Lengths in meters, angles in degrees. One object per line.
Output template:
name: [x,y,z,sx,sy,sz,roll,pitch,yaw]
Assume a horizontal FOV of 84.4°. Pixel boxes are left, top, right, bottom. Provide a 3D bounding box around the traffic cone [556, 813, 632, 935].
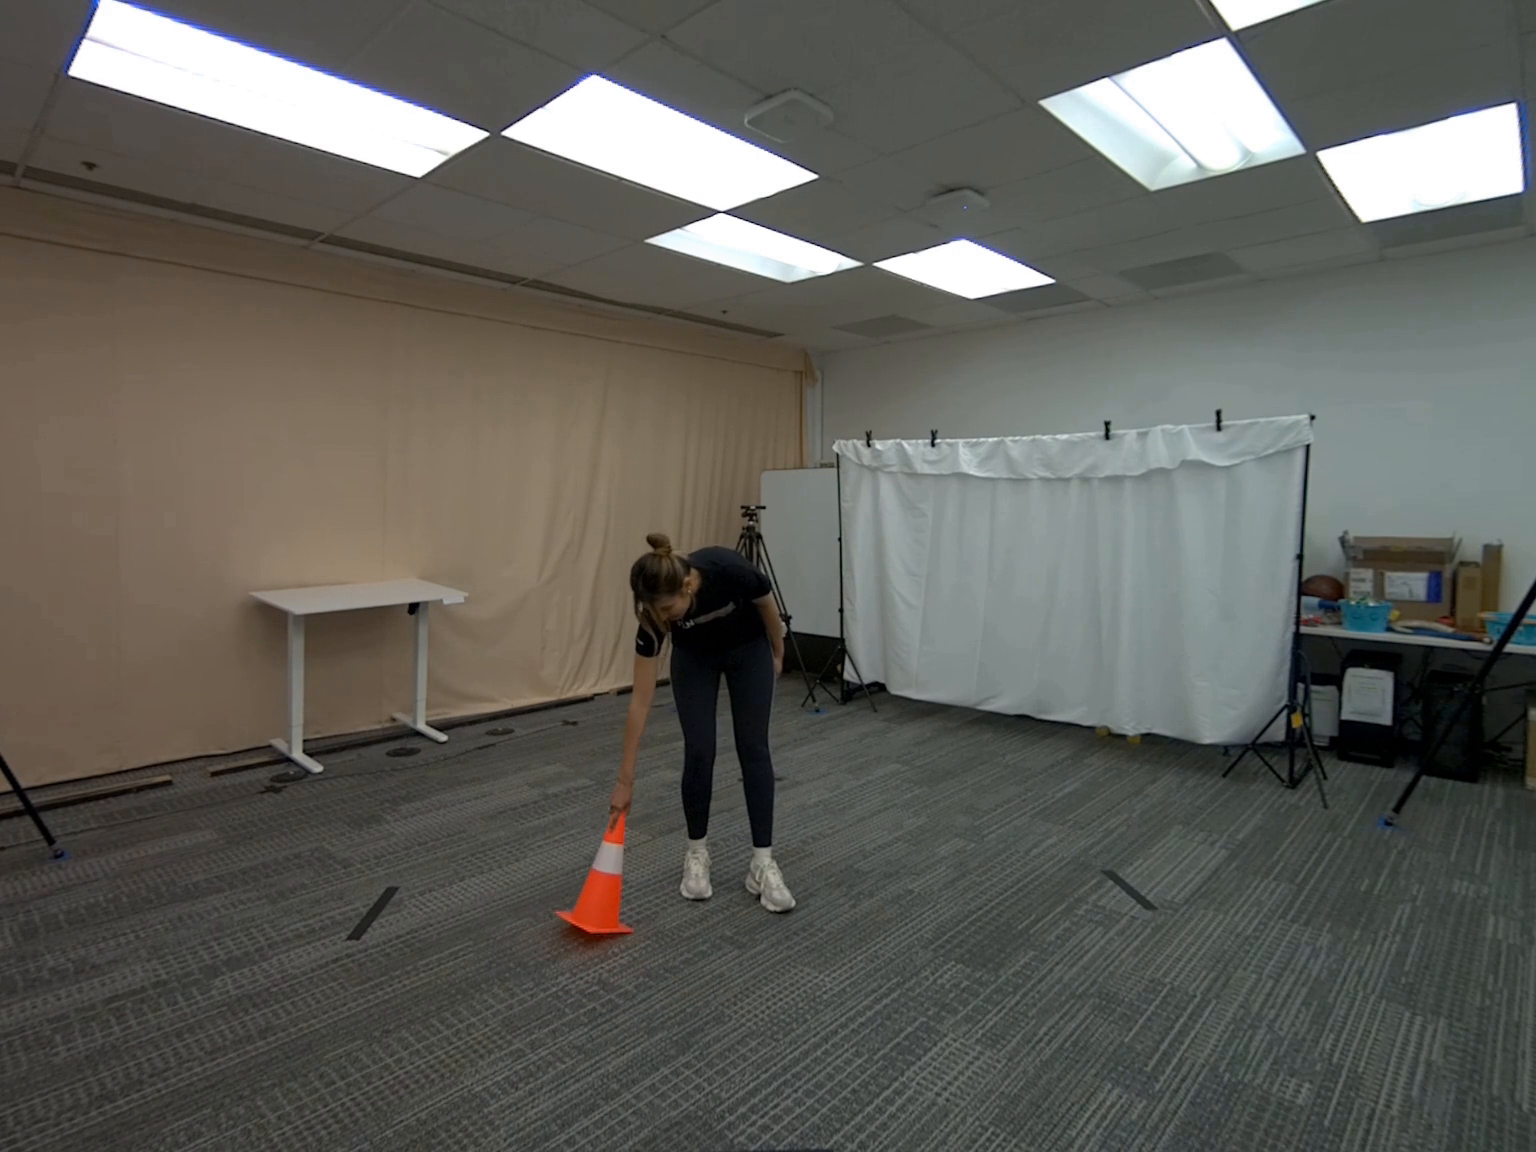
traffic cone: [-0.516,0.959,2.783,0.210,0.385,0.197,3,-15,40]
